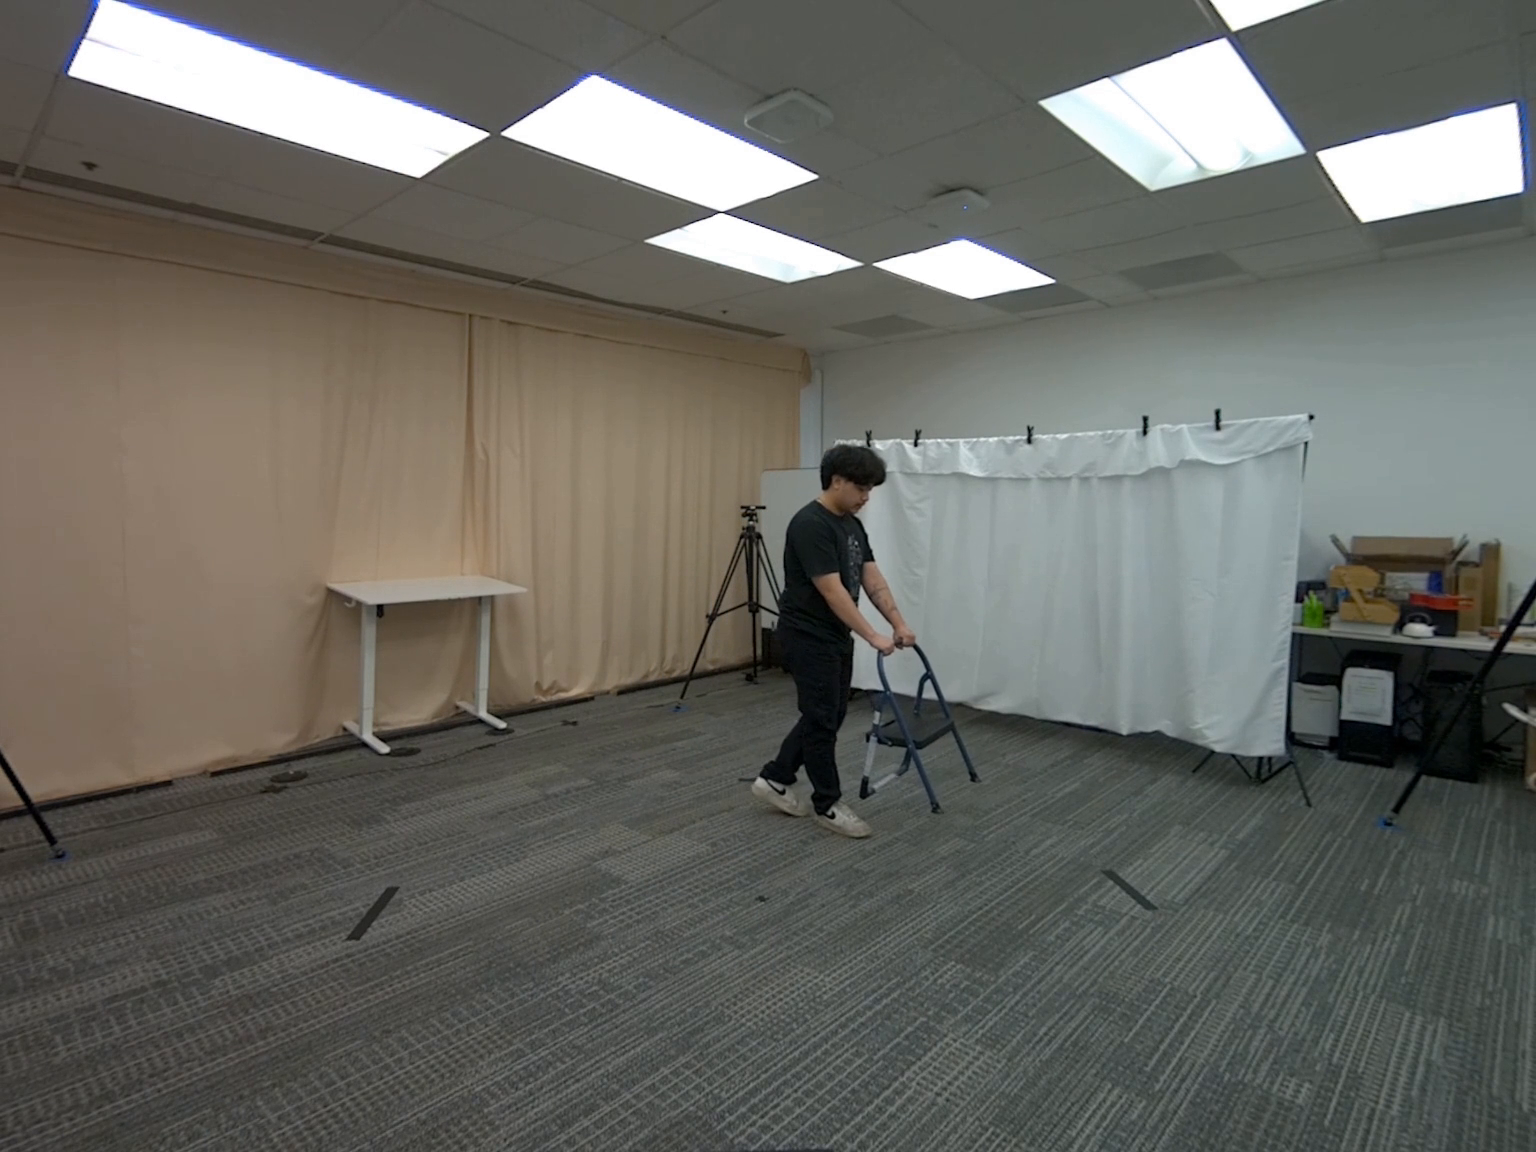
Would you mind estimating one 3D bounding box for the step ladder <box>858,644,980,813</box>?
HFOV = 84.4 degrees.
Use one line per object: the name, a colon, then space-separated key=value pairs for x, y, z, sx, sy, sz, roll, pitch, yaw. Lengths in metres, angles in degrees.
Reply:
step ladder: x=0.604 y=0.570 z=3.397 sx=0.360 sy=0.604 sz=0.419 roll=-1 pitch=5 yaw=35
